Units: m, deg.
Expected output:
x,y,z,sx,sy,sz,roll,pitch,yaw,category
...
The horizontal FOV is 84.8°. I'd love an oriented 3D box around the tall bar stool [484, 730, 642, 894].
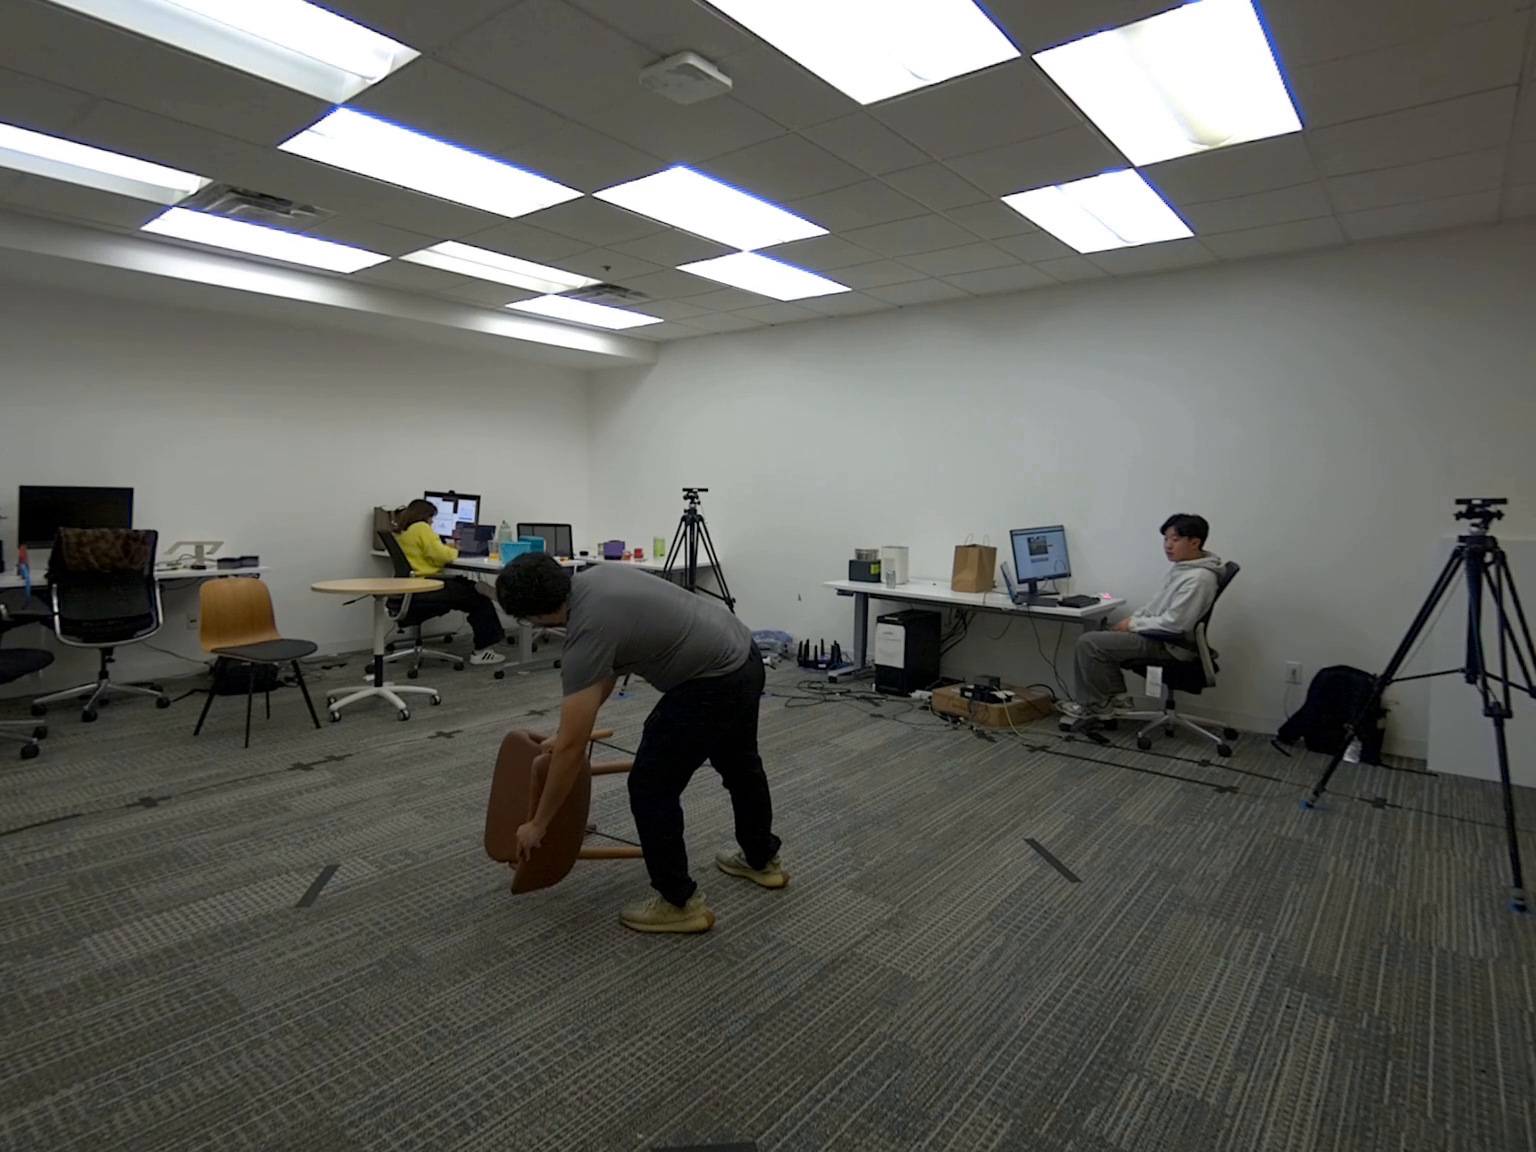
x,y,z,sx,sy,sz,roll,pitch,yaw,category
-0.709,0.789,2.992,0.482,0.458,0.859,6,-5,30,tall bar stool
